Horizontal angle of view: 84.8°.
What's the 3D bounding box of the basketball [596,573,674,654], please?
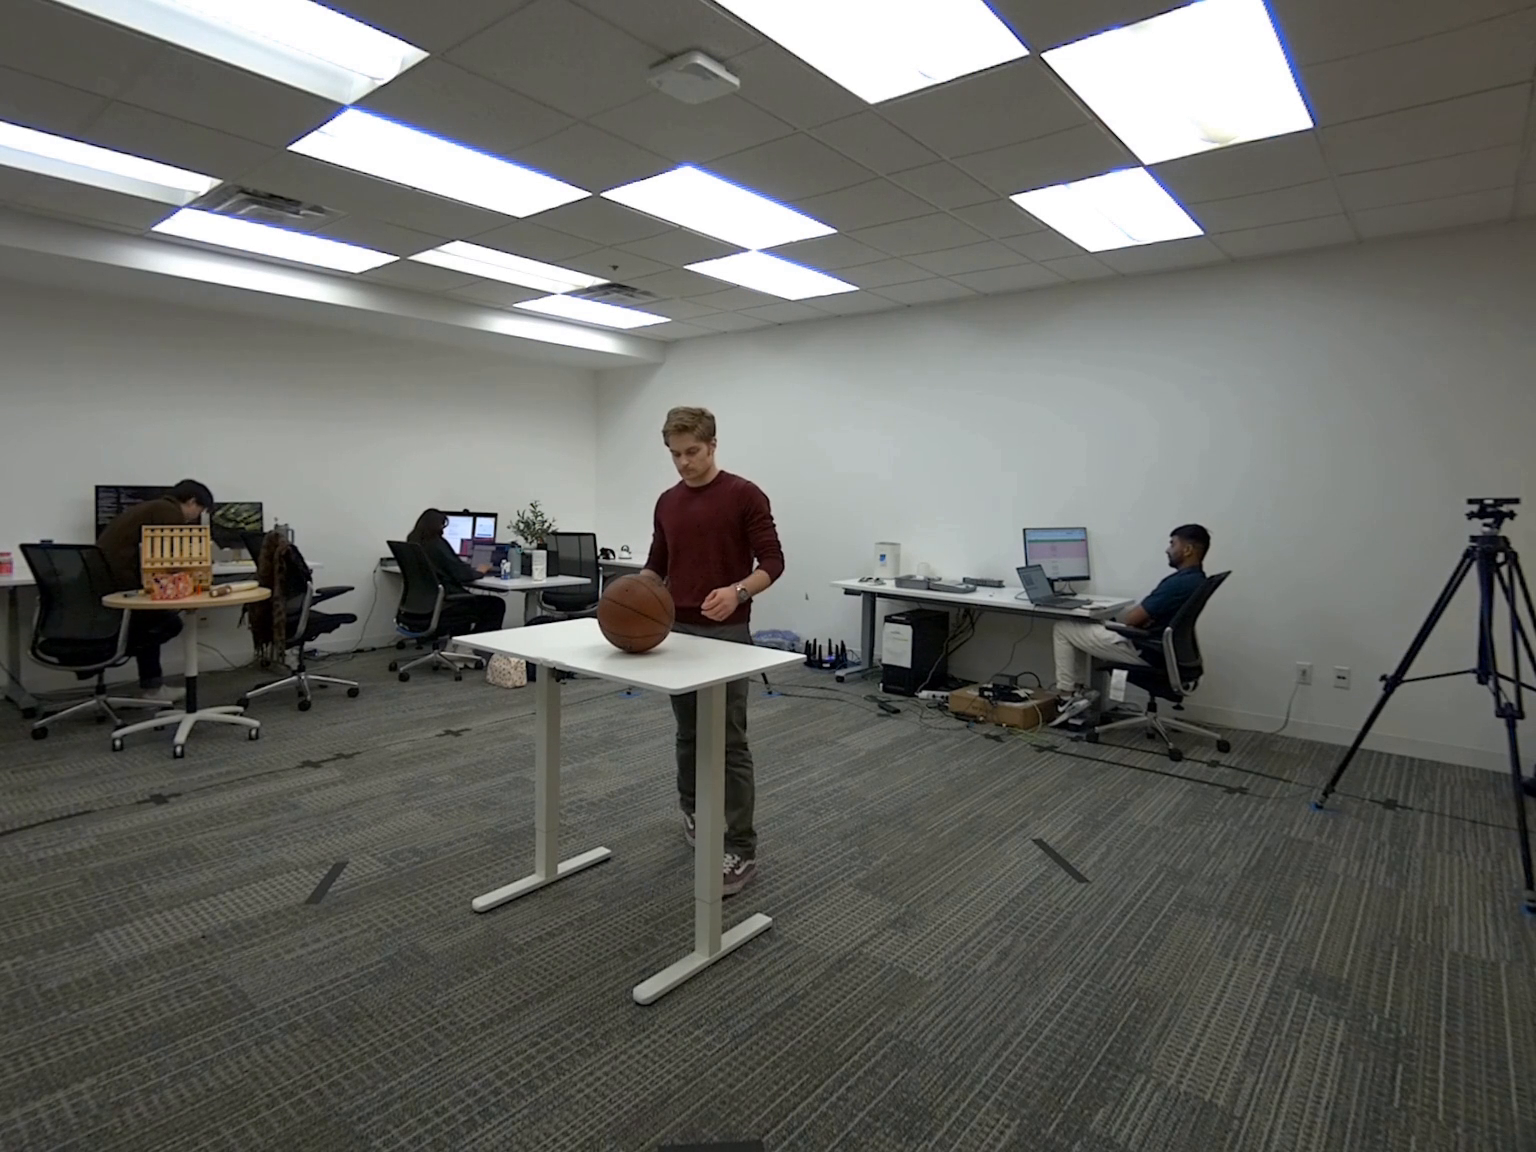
[{"bbox_3d":[-0.415,0.105,2.618,0.235,0.235,0.237,1,4,-2],"label":"basketball"}]
